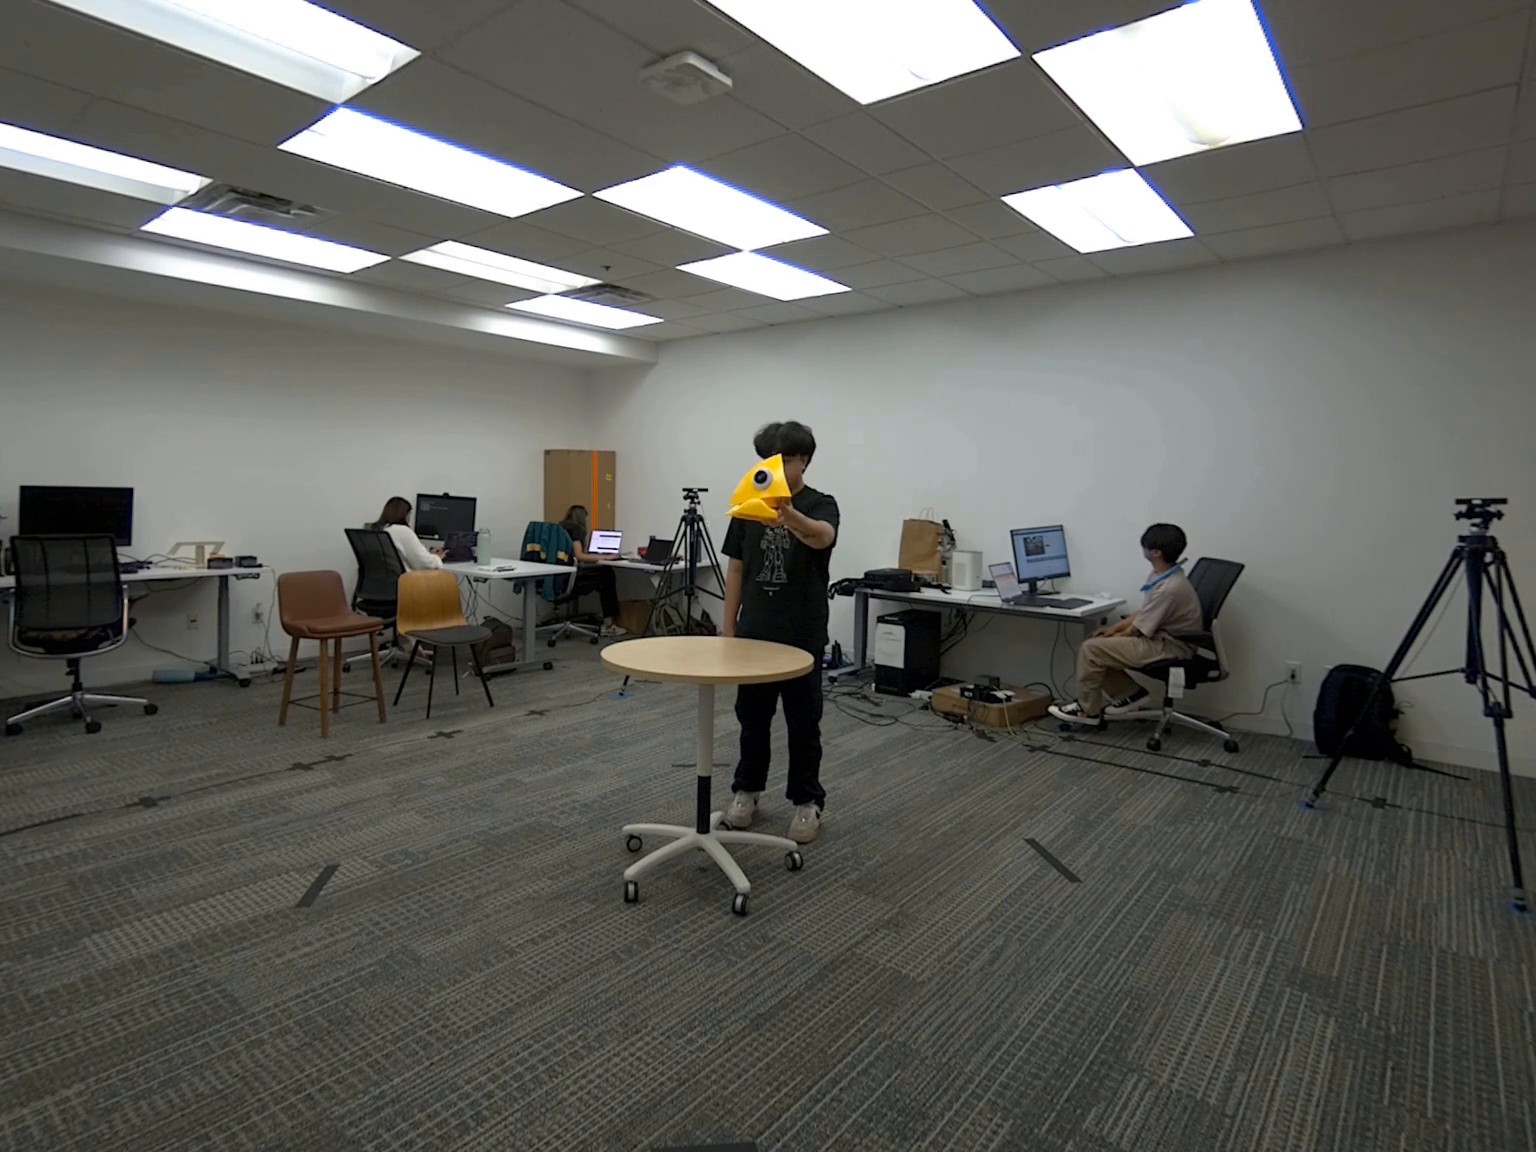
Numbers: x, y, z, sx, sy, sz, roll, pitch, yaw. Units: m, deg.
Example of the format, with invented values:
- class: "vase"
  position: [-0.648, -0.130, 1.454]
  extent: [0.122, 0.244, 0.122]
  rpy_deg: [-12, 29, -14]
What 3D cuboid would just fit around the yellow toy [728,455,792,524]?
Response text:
- class: "yellow toy"
  position: [-0.026, -0.317, 2.915]
  extent: [0.190, 0.231, 0.207]
  rpy_deg: [9, -3, -12]
